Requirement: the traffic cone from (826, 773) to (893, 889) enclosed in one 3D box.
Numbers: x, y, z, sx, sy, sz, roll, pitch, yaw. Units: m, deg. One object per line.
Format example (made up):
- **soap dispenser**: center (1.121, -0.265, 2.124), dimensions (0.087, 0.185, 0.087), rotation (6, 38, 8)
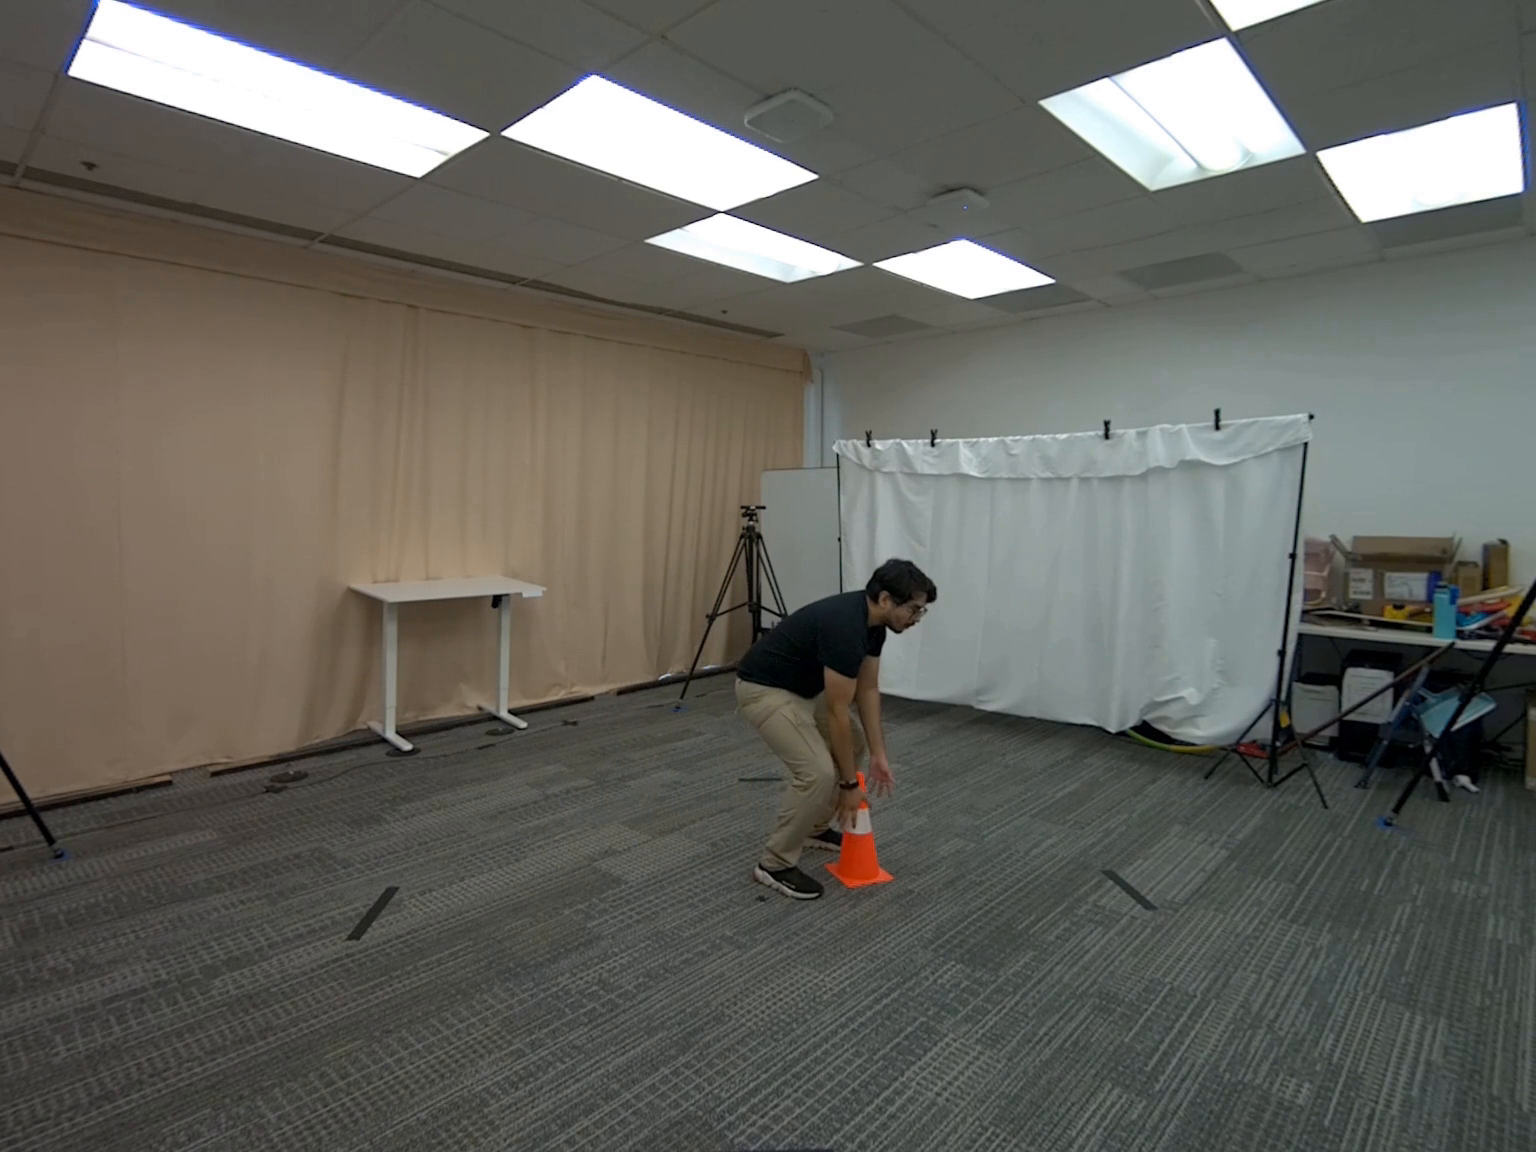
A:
- **traffic cone**: center (0.345, 0.938, 3.181), dimensions (0.197, 0.383, 0.211), rotation (1, 1, -34)
